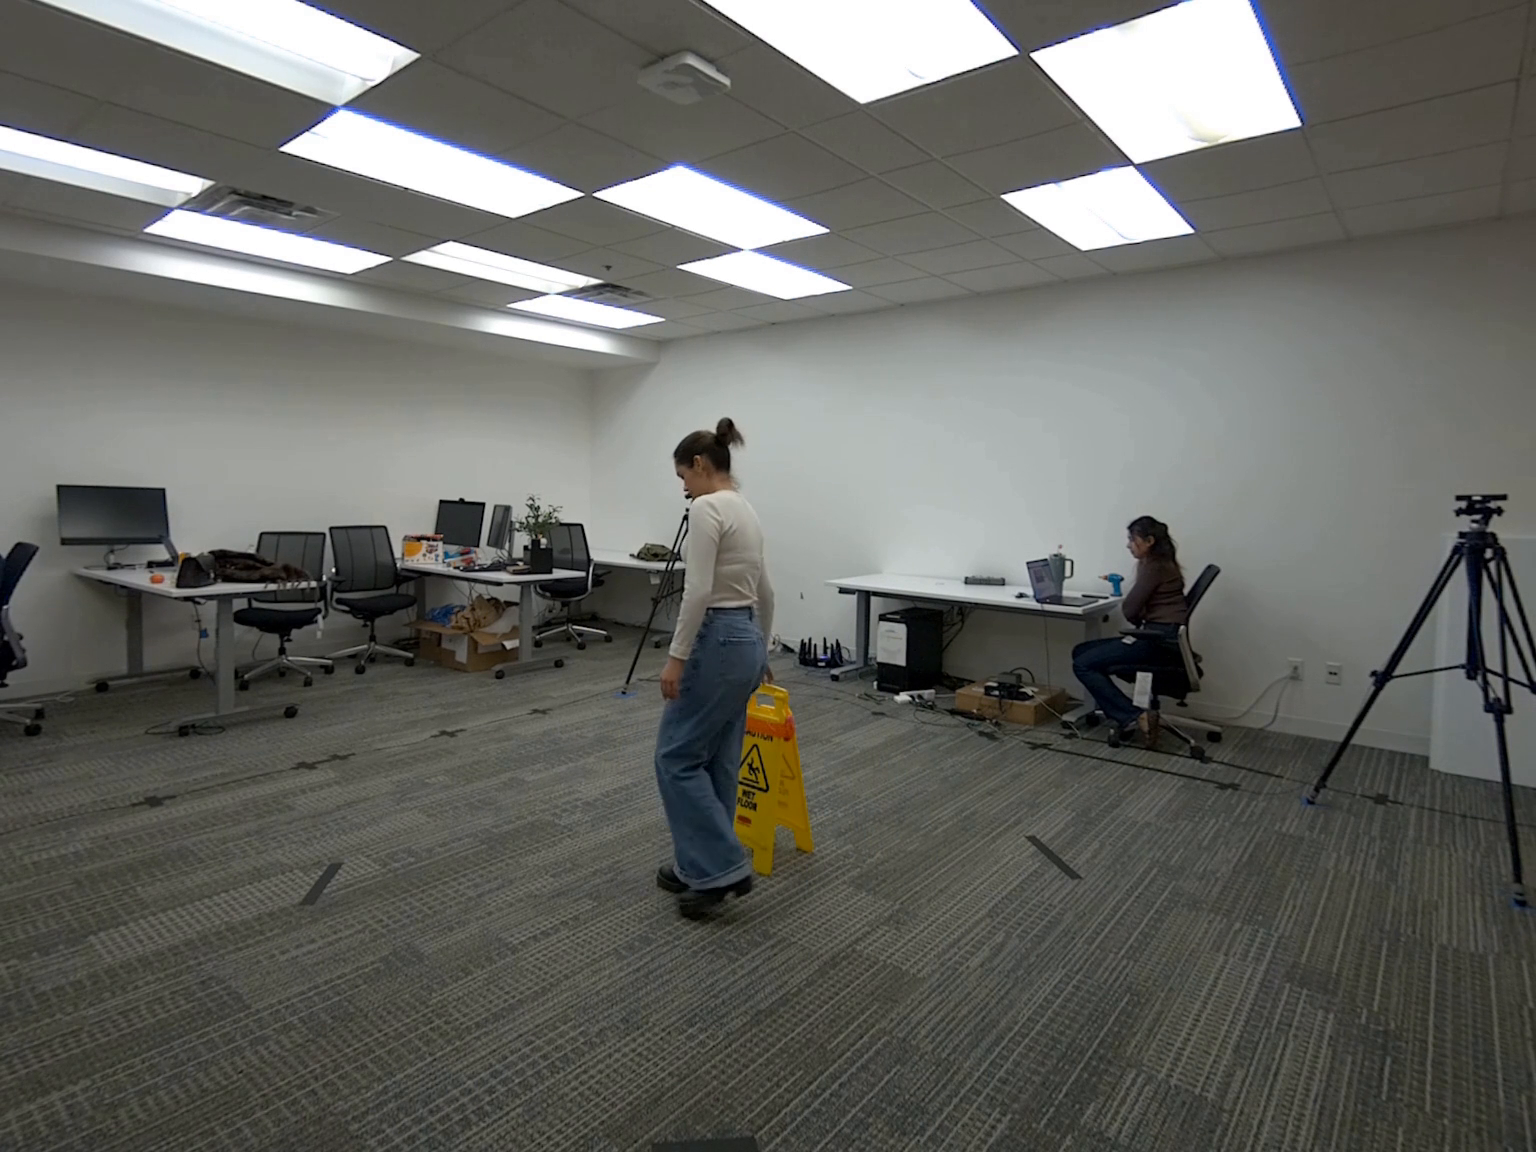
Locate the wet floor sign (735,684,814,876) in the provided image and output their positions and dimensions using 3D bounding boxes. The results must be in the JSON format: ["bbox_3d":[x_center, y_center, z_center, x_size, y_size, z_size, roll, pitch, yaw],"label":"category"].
[{"bbox_3d":[-0.021,0.729,3.235,0.292,0.644,0.281,4,4,39],"label":"wet floor sign"}]
